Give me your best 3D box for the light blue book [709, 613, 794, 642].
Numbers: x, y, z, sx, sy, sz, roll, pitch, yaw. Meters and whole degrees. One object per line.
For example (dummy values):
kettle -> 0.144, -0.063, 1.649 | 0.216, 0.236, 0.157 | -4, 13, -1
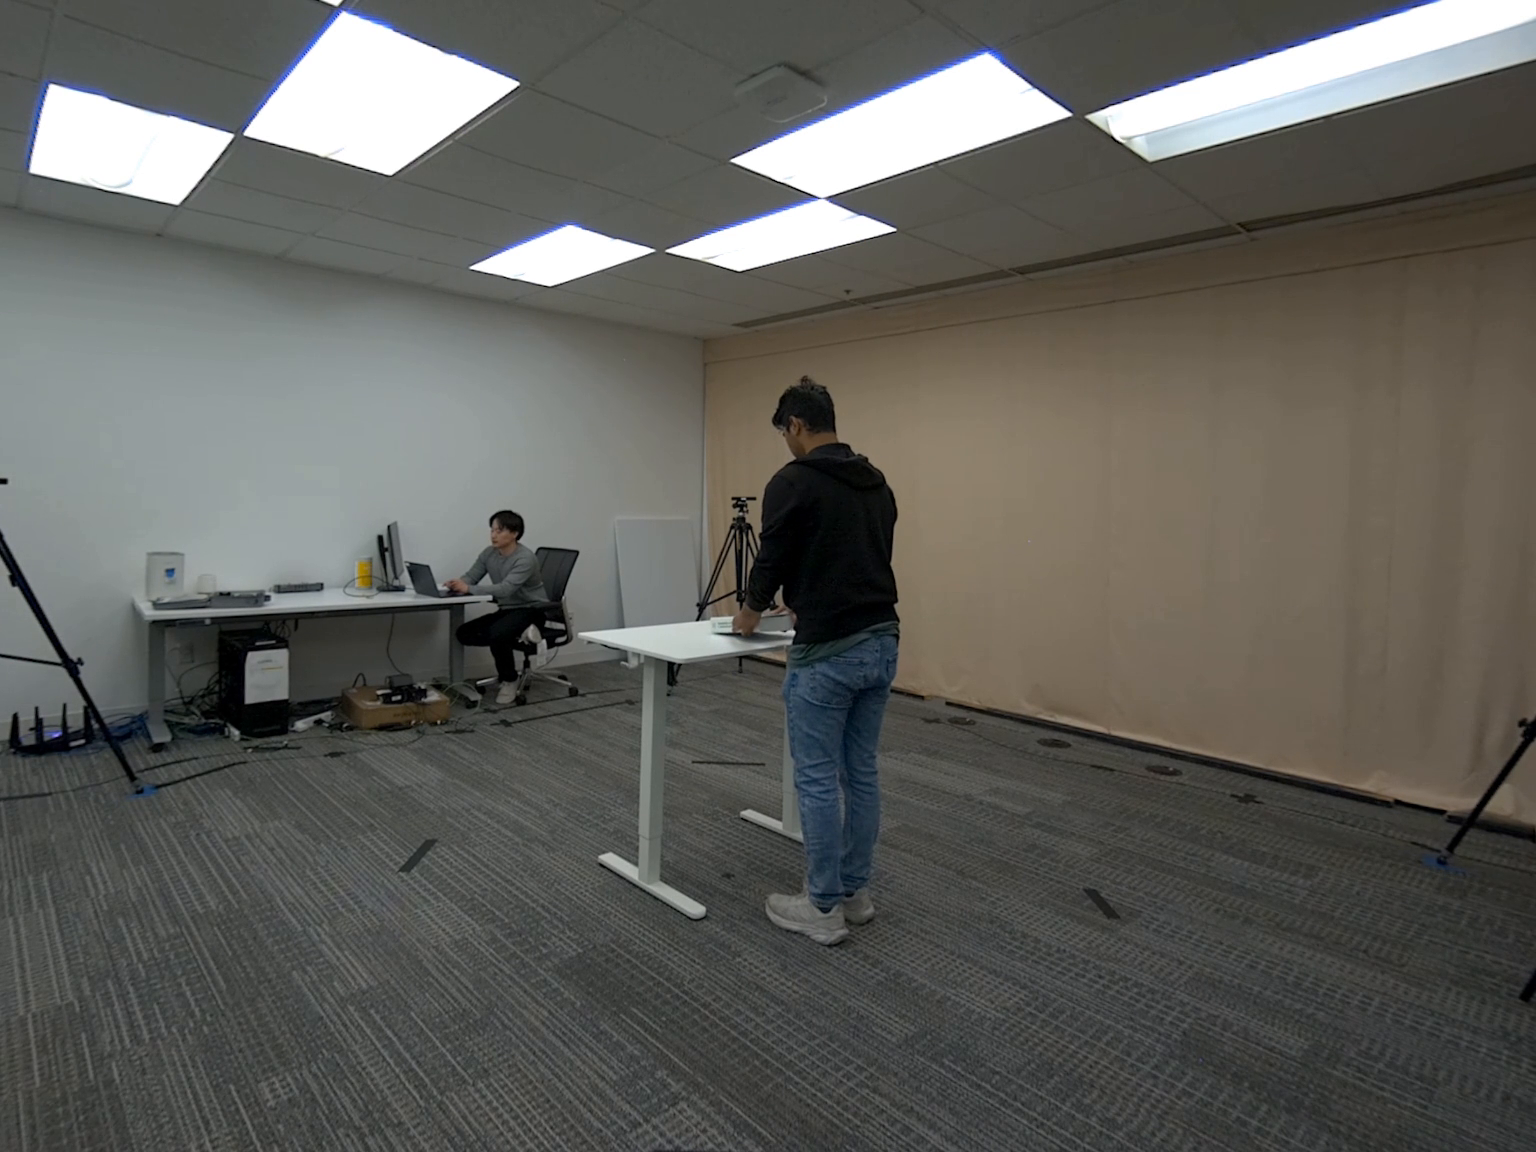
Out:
light blue book -> -0.072, 0.181, 3.152 | 0.267, 0.059, 0.187 | -2, 0, 45
